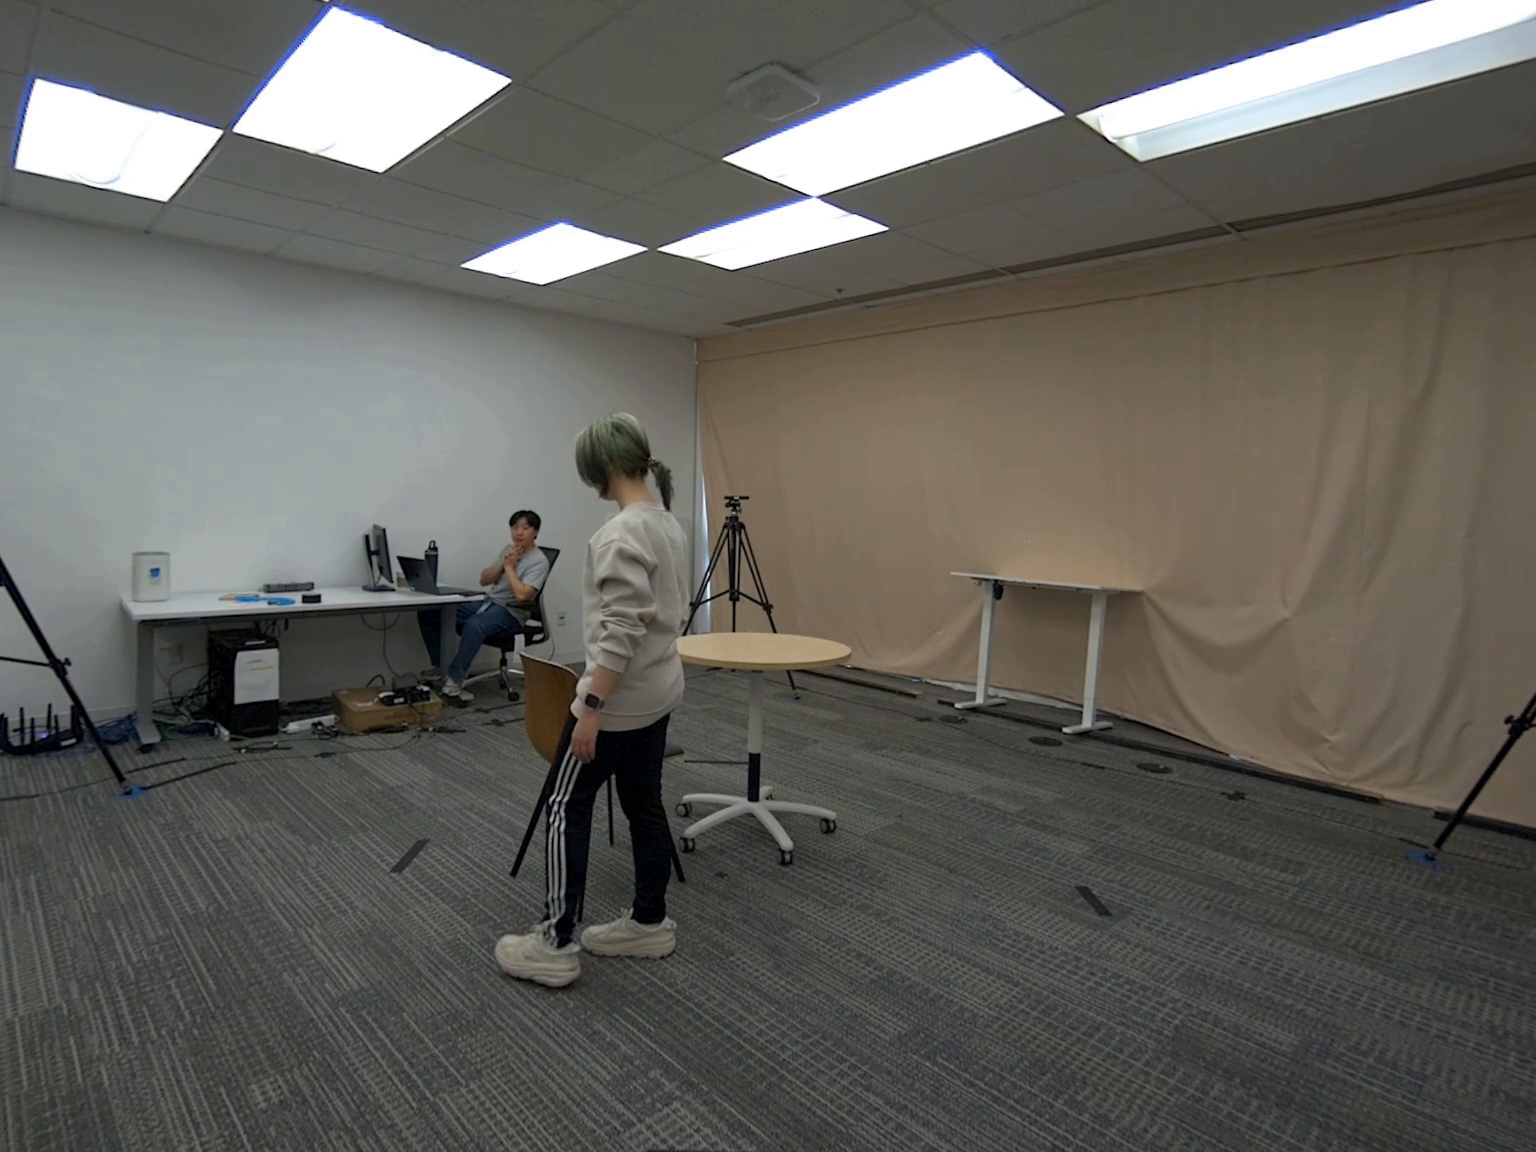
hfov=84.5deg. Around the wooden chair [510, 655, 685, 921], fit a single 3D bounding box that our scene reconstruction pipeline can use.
[{"bbox_3d":[-0.604,0.675,3.026,0.512,0.873,0.490,-8,9,-44],"label":"wooden chair"}]
